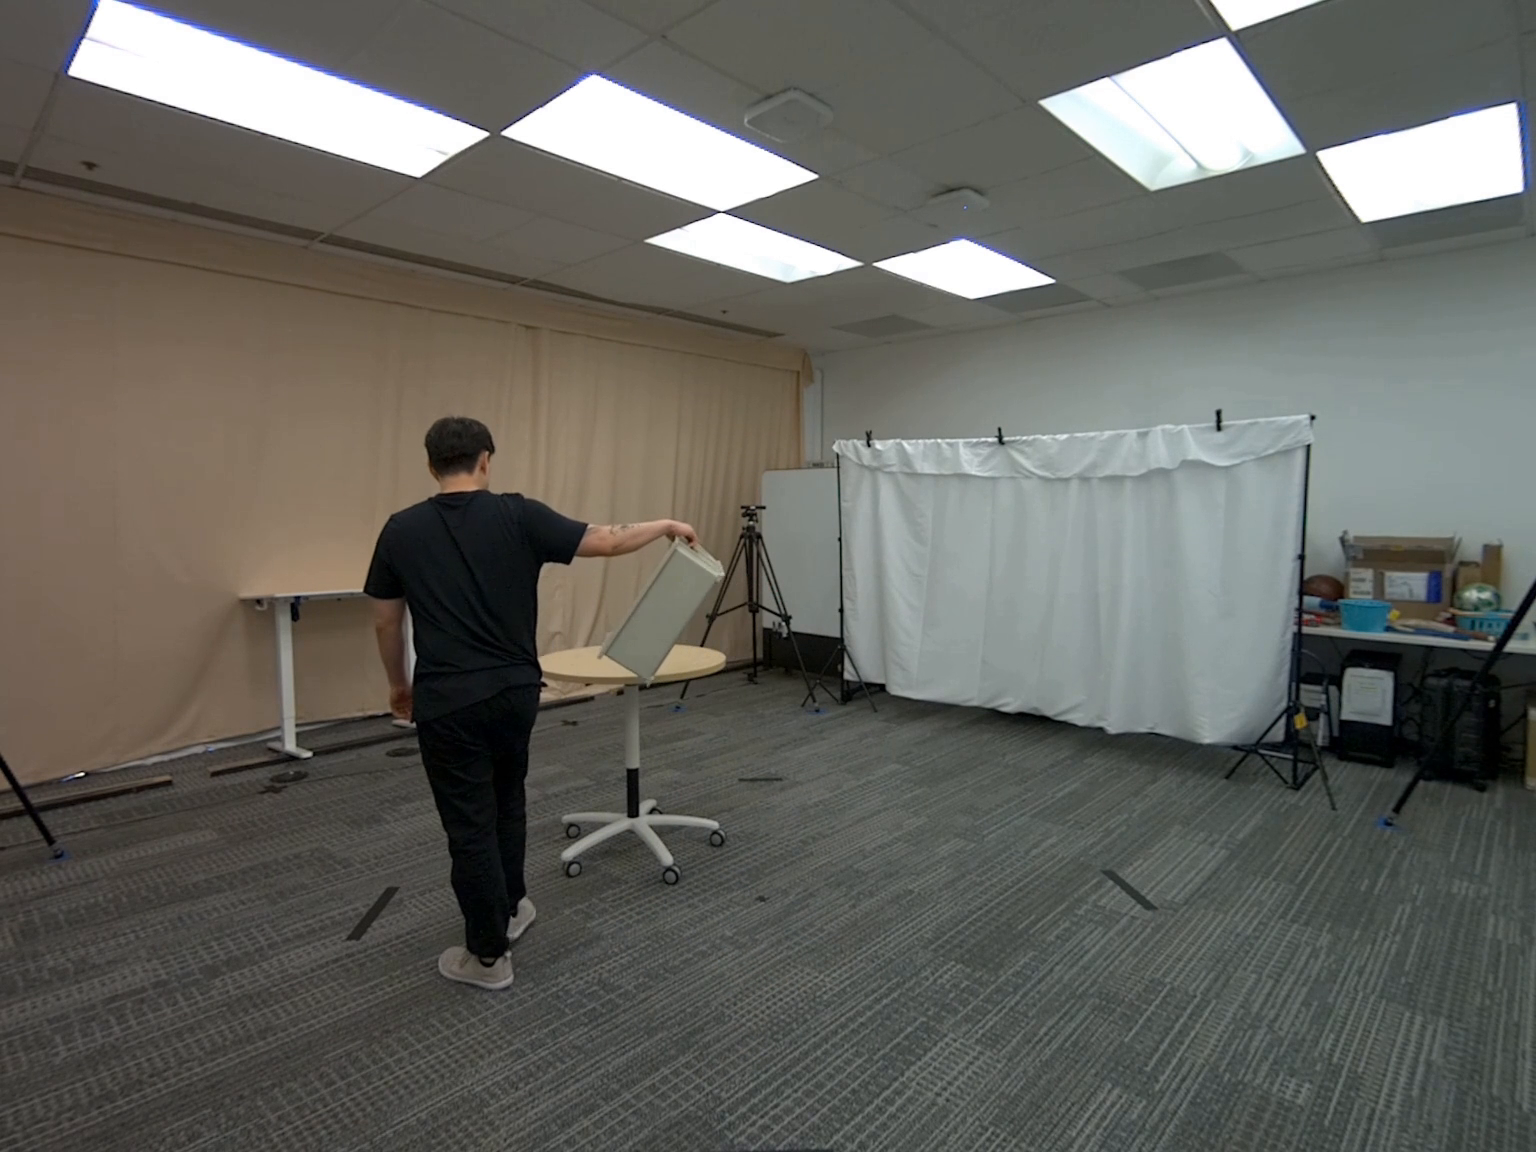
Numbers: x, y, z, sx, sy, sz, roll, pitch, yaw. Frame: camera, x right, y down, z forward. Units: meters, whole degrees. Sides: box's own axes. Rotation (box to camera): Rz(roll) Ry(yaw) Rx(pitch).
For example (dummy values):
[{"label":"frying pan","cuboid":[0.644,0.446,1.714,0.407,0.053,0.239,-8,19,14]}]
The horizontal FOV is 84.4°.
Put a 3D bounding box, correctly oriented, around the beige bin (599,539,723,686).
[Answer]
[{"label":"beige bin","cuboid":[-0.328,0.091,2.681,0.187,0.422,0.381,34,3,-10]}]
